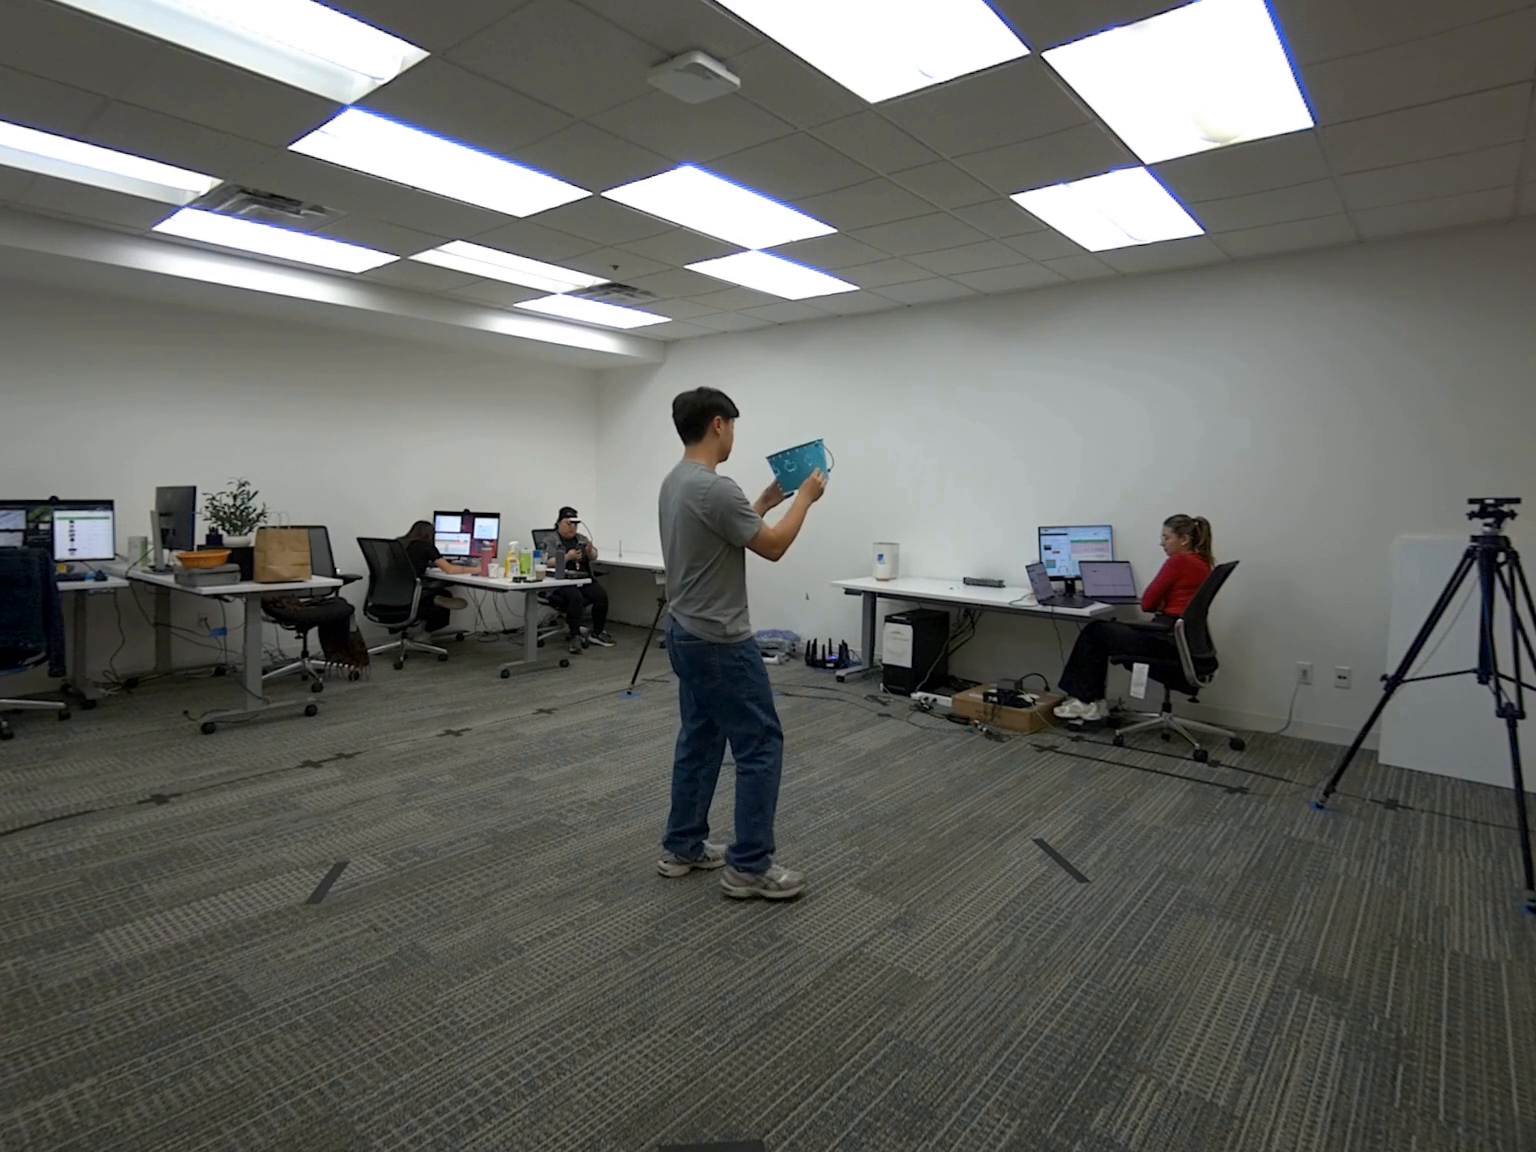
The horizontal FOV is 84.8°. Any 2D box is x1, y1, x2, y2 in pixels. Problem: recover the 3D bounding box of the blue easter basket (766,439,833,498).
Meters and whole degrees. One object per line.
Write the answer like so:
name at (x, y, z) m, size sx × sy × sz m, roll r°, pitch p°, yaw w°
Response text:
blue easter basket at (0.120, -0.418, 3.199) m, size 0.243 × 0.155 × 0.245 m, roll -18°, pitch 6°, yaw 0°
